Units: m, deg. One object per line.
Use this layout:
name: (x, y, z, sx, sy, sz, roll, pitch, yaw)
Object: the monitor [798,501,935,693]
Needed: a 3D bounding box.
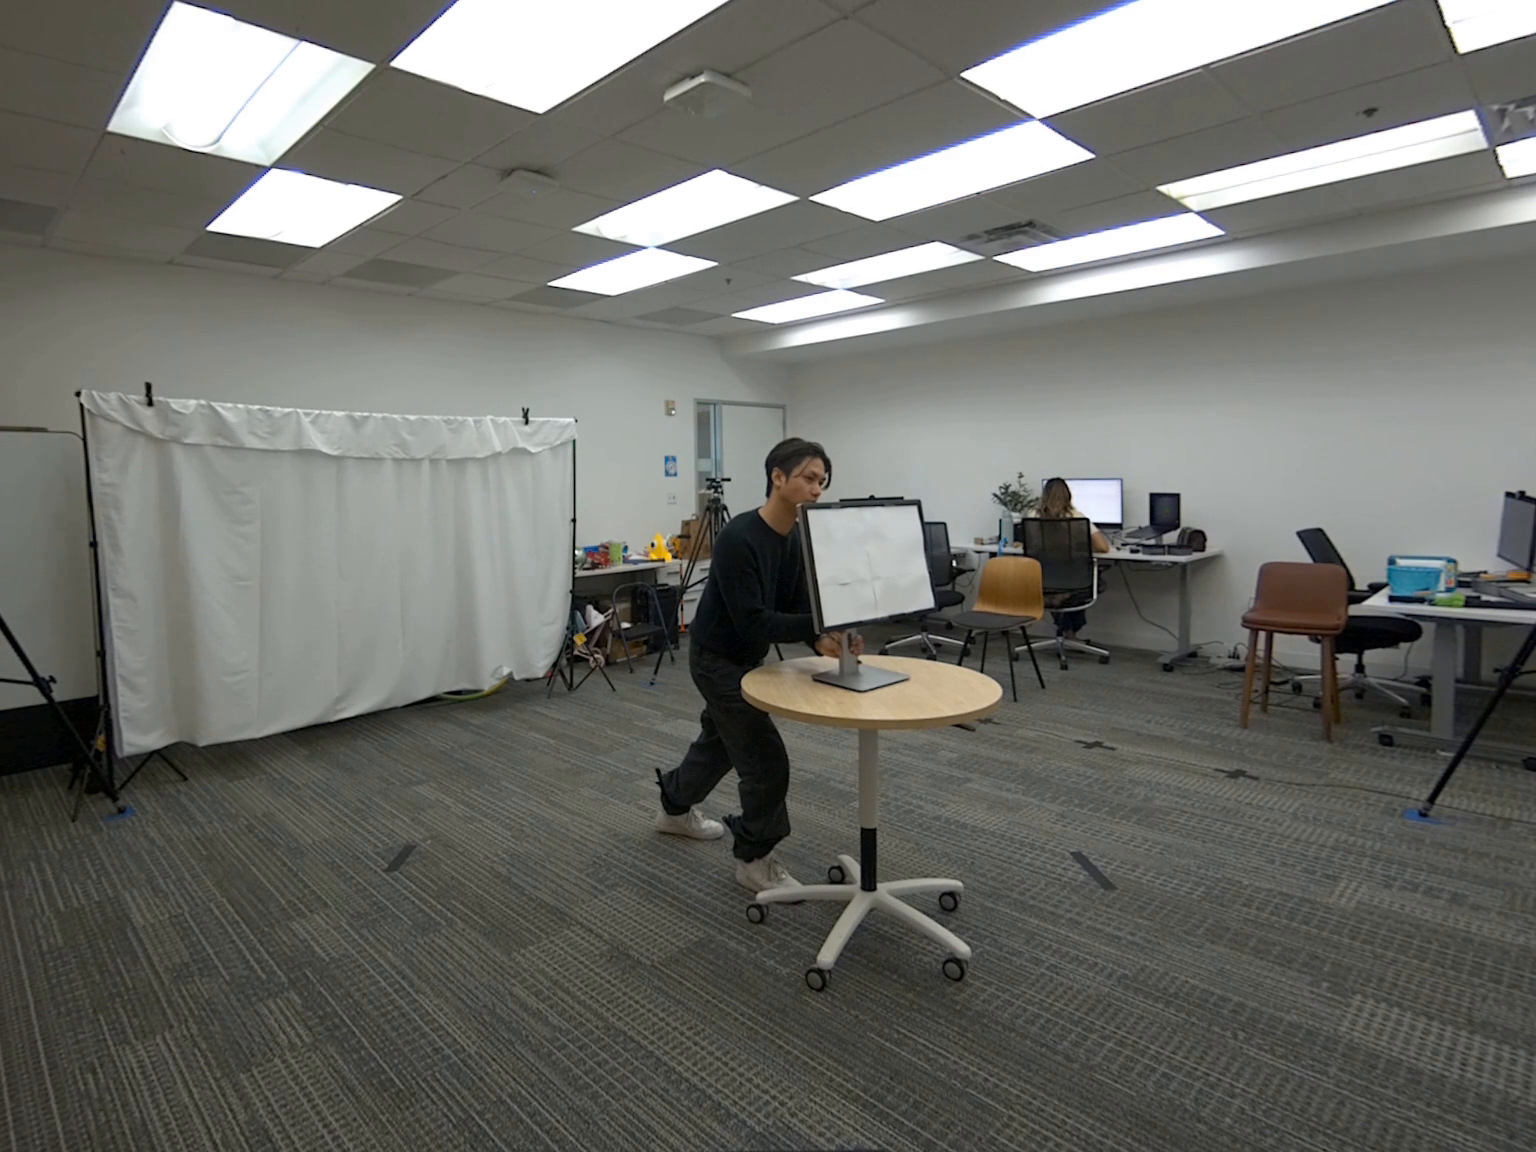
monitor: (0.285, 0.046, 2.571, 0.515, 0.513, 0.180, -4, 11, -45)
